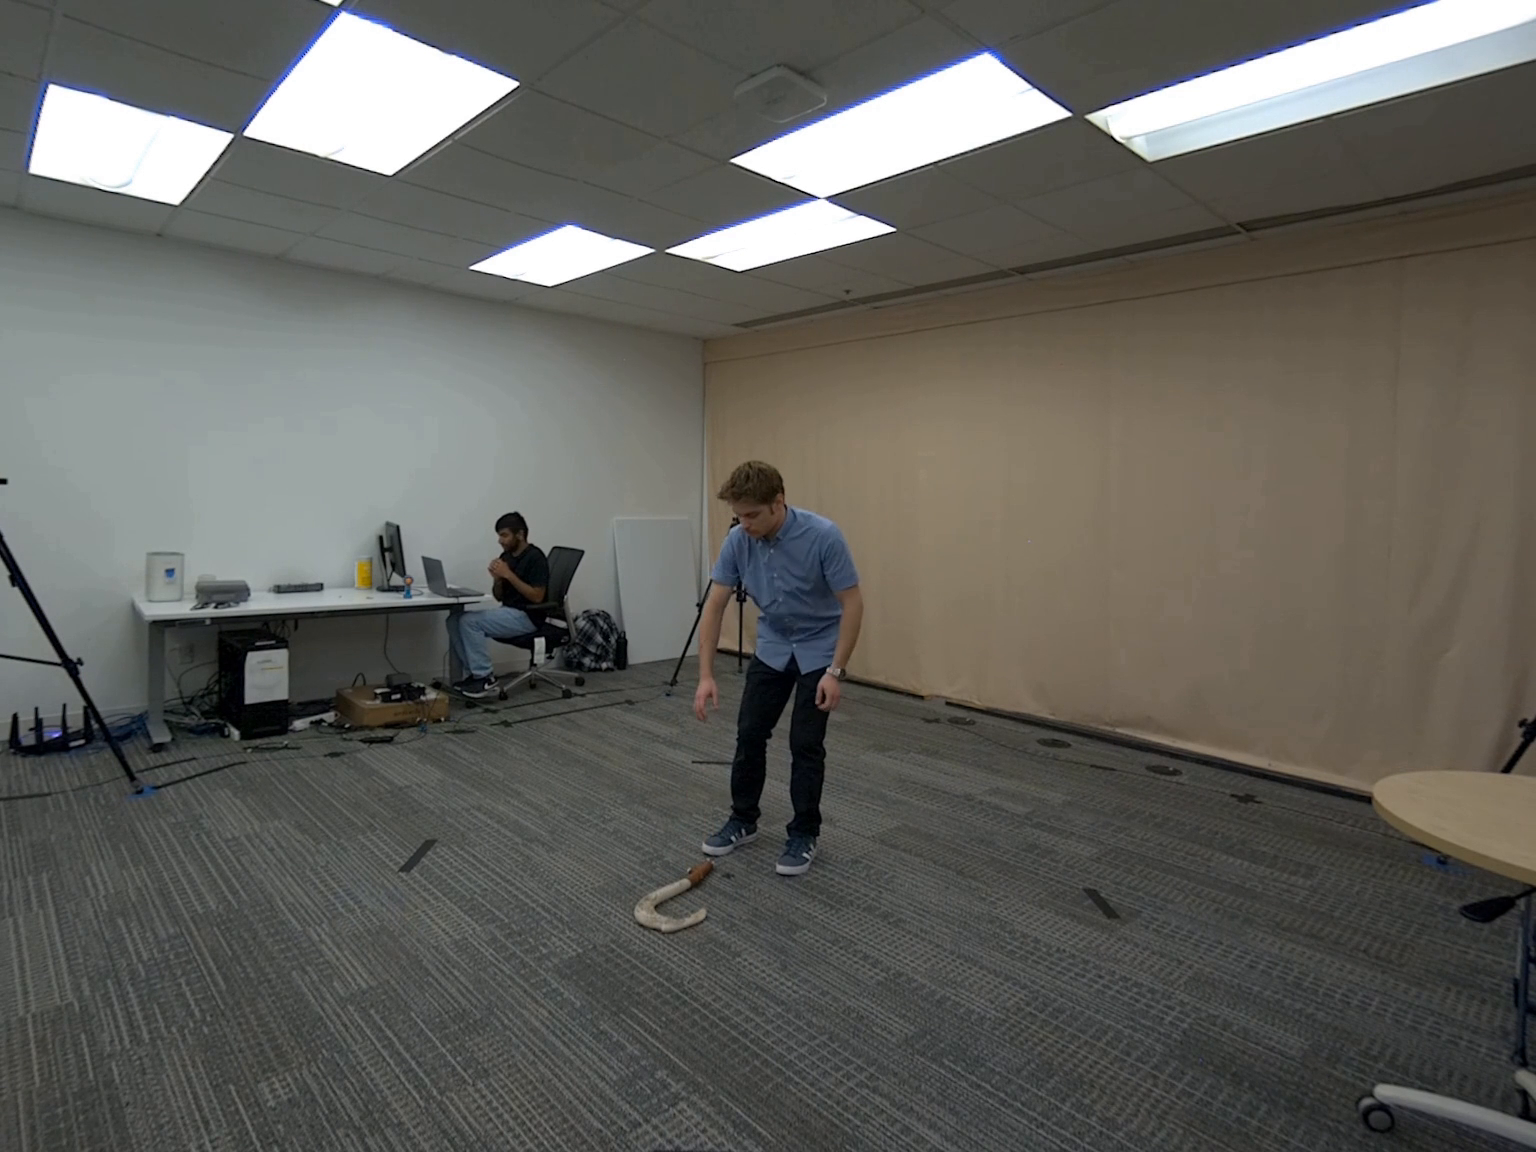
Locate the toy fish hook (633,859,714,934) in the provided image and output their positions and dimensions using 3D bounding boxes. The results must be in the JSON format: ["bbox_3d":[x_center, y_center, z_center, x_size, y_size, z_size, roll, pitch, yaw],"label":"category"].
[{"bbox_3d":[-0.272,1.108,2.917,0.229,0.048,0.499,12,10,23],"label":"toy fish hook"}]
